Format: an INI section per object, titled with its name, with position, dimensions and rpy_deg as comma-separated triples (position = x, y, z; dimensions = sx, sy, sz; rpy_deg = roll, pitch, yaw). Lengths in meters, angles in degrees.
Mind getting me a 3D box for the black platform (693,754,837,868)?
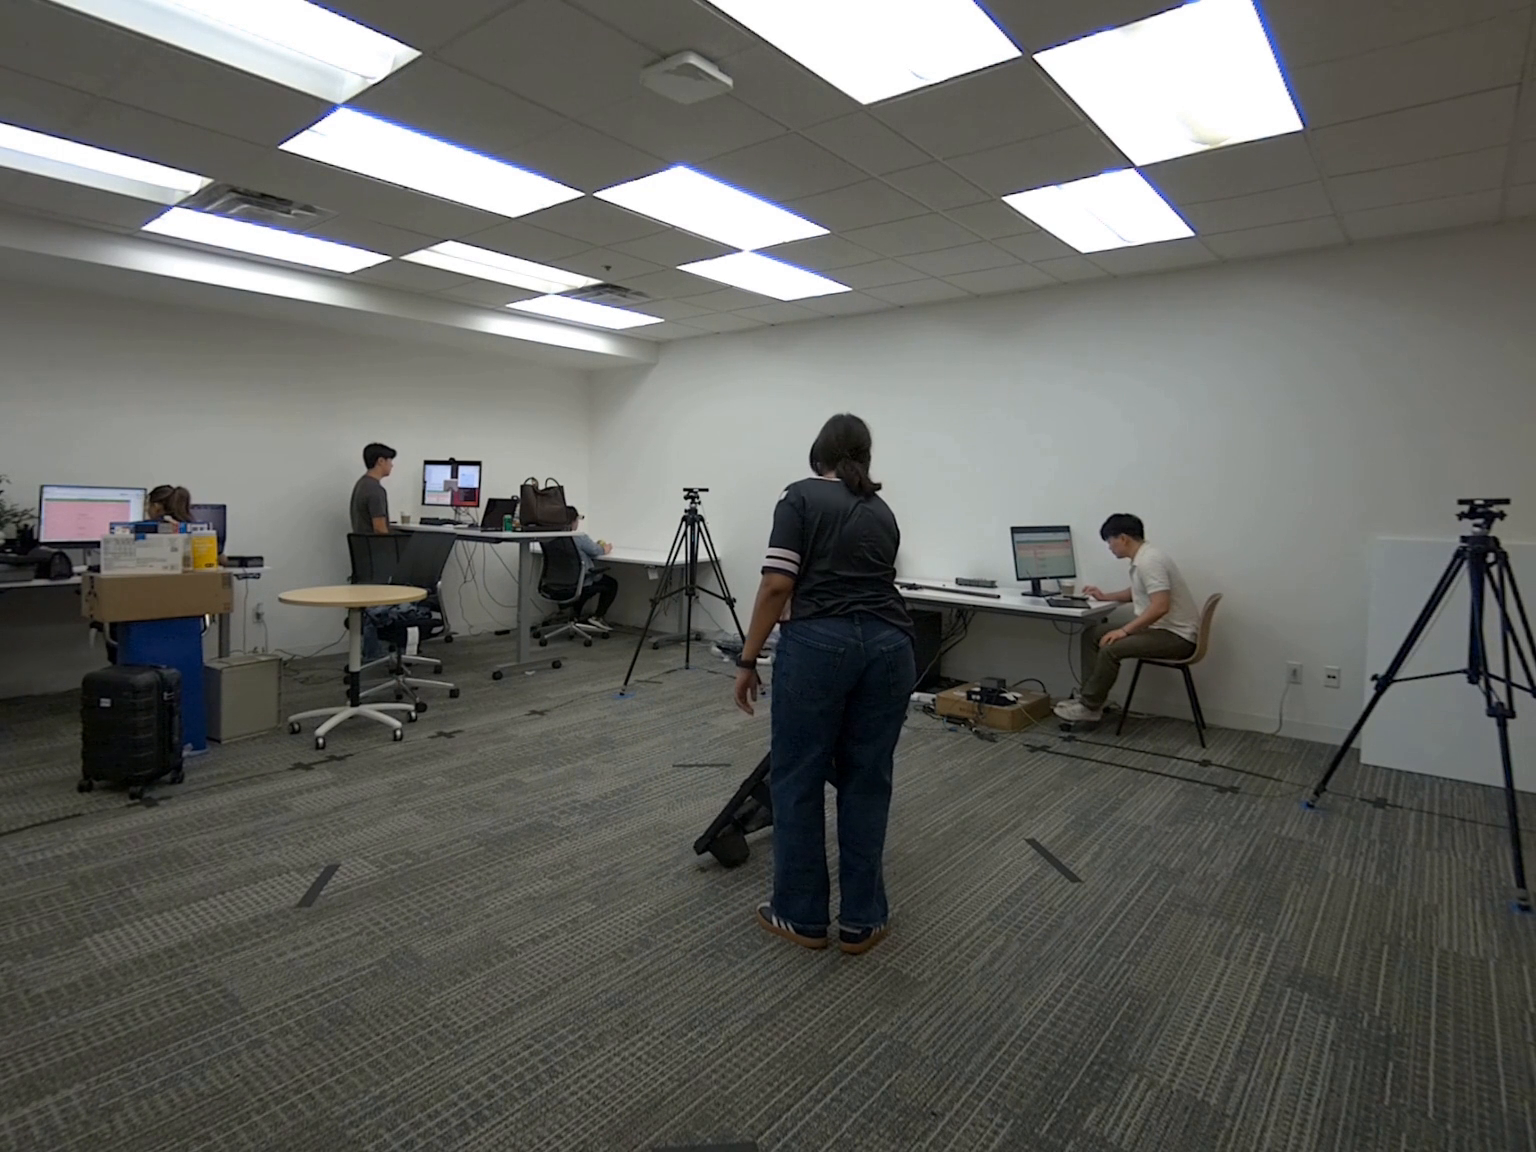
[black platform]
position = 0.135, 0.746, 3.147
dimensions = 0.587, 0.801, 0.148
rpy_deg = -3, 46, -49
